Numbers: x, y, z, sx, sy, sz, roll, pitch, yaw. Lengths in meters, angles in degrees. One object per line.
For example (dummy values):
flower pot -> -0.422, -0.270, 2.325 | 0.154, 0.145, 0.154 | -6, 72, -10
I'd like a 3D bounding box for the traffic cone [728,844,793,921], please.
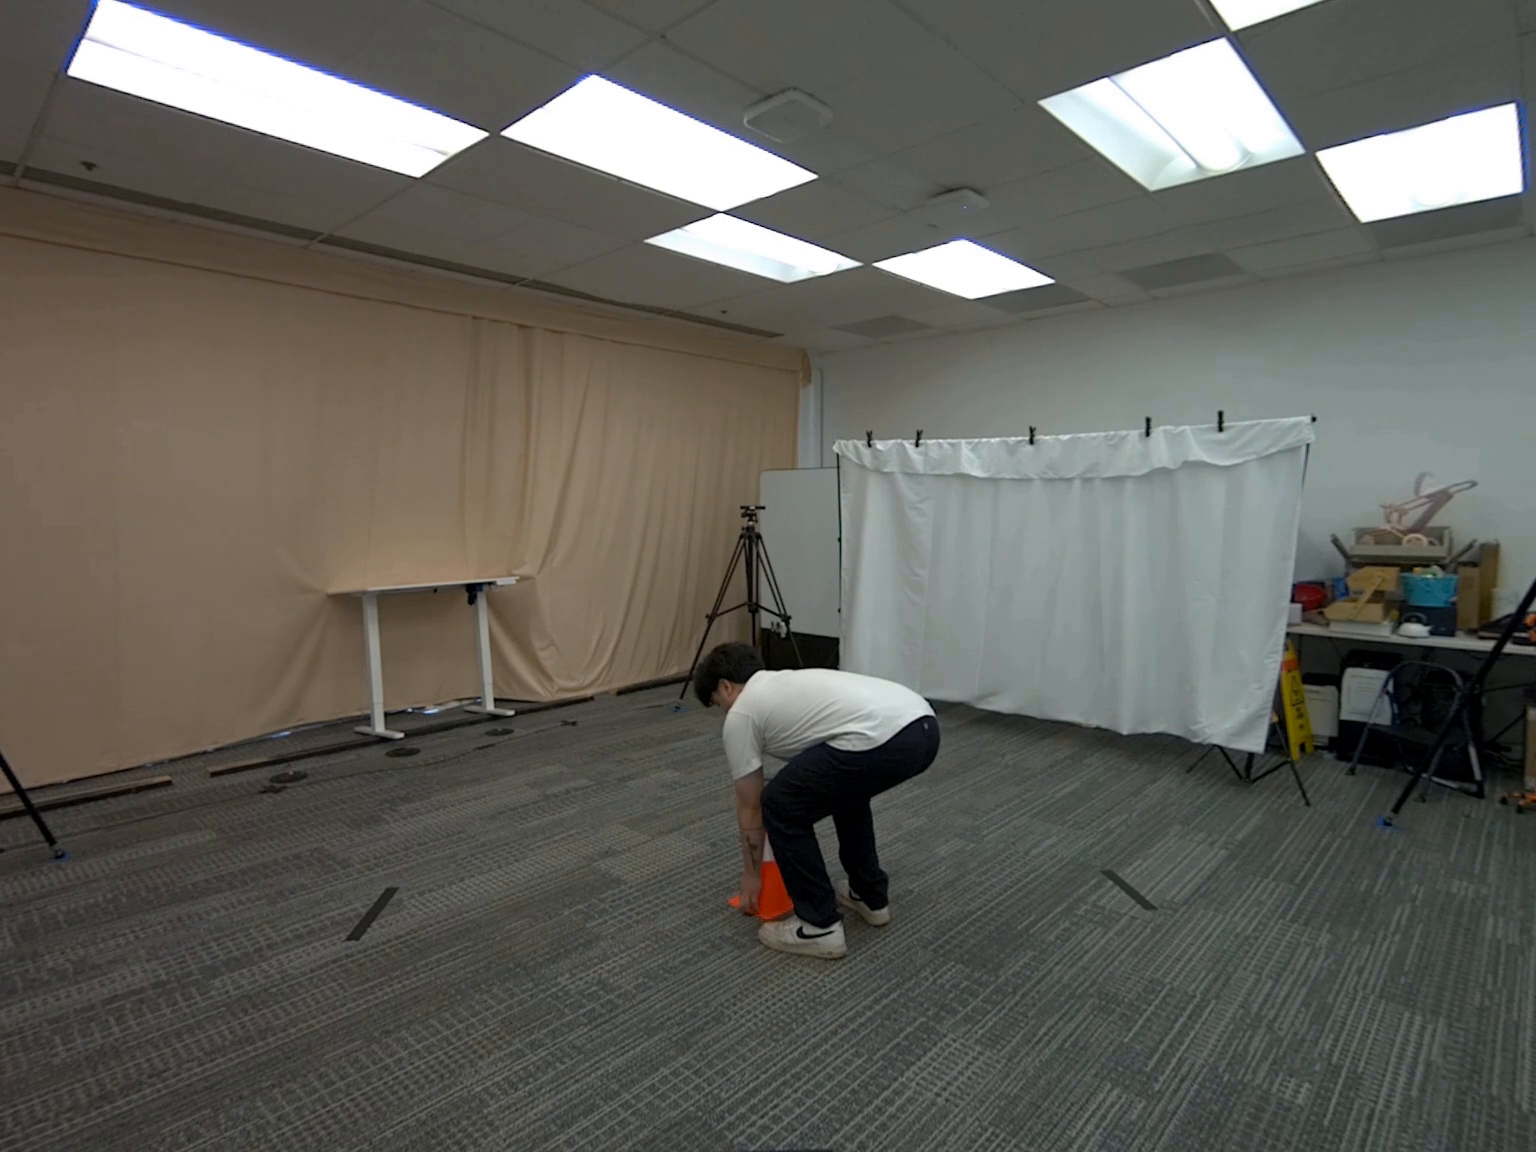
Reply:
traffic cone -> -0.007, 0.966, 2.937 | 0.200, 0.382, 0.209 | -6, 8, -29
